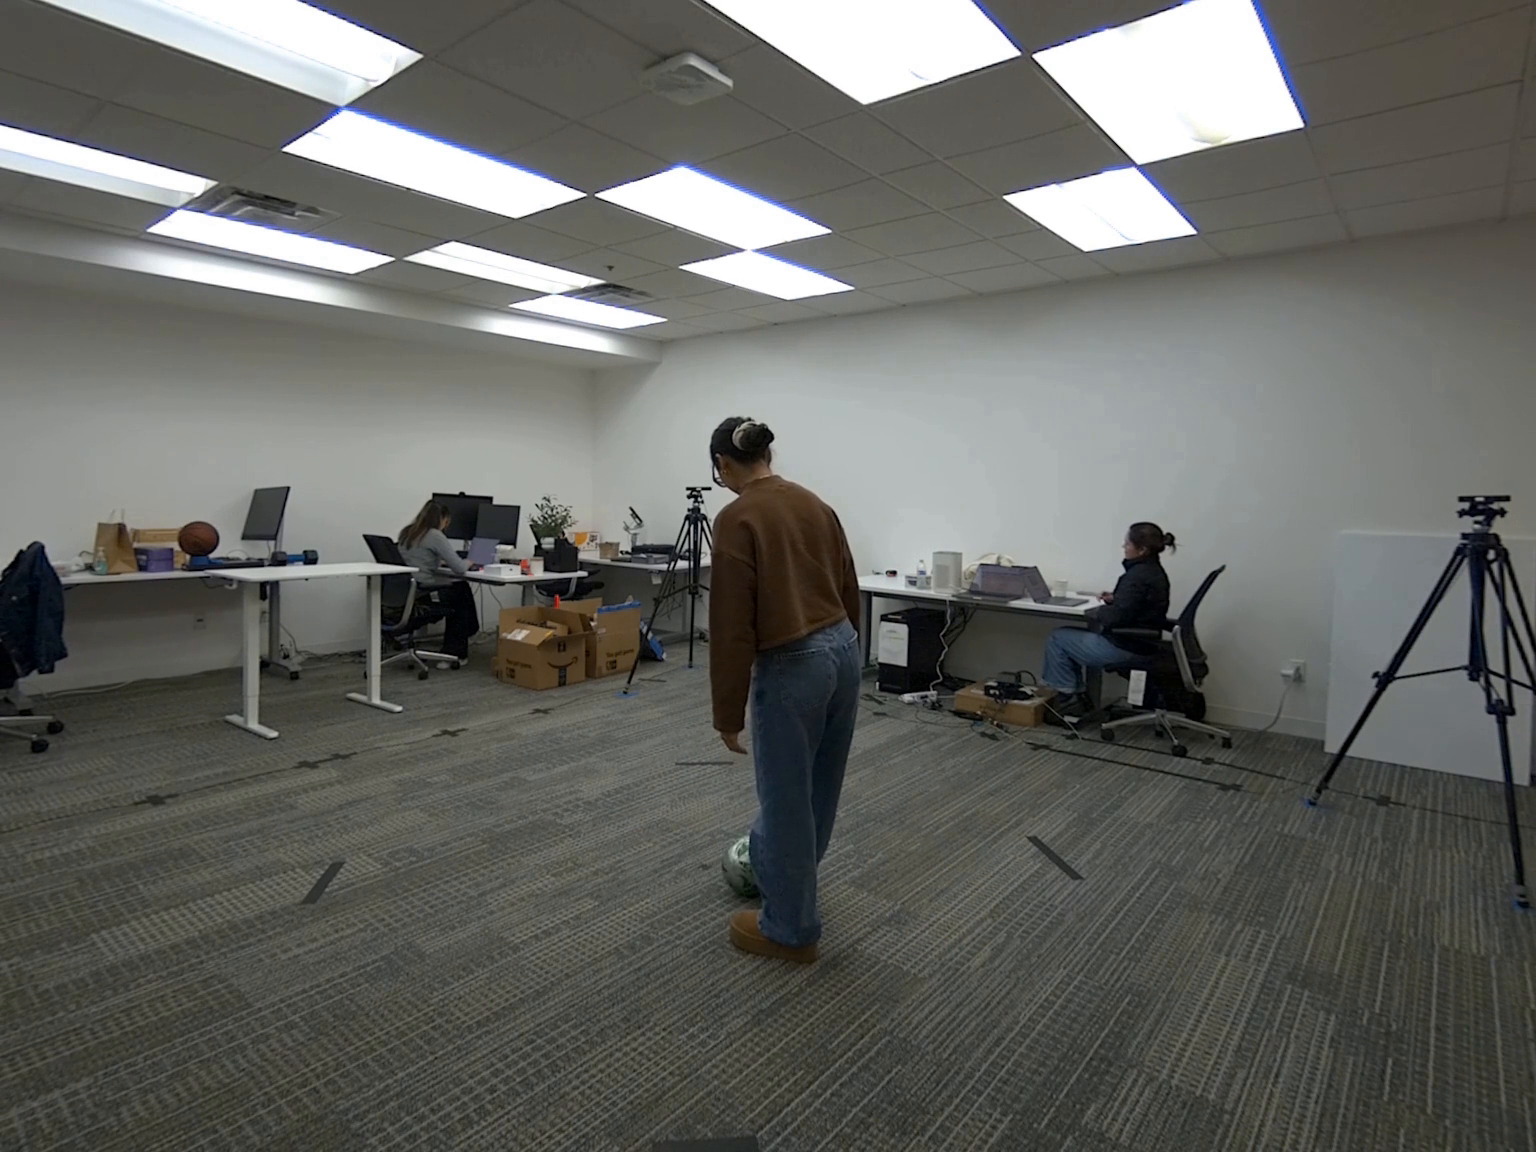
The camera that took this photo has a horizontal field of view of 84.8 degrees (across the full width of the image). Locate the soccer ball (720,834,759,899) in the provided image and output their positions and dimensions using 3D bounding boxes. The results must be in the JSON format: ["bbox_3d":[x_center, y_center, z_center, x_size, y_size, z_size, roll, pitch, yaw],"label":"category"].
[{"bbox_3d":[-0.076,0.991,2.931,0.187,0.187,0.188,1,4,-2],"label":"soccer ball"}]
